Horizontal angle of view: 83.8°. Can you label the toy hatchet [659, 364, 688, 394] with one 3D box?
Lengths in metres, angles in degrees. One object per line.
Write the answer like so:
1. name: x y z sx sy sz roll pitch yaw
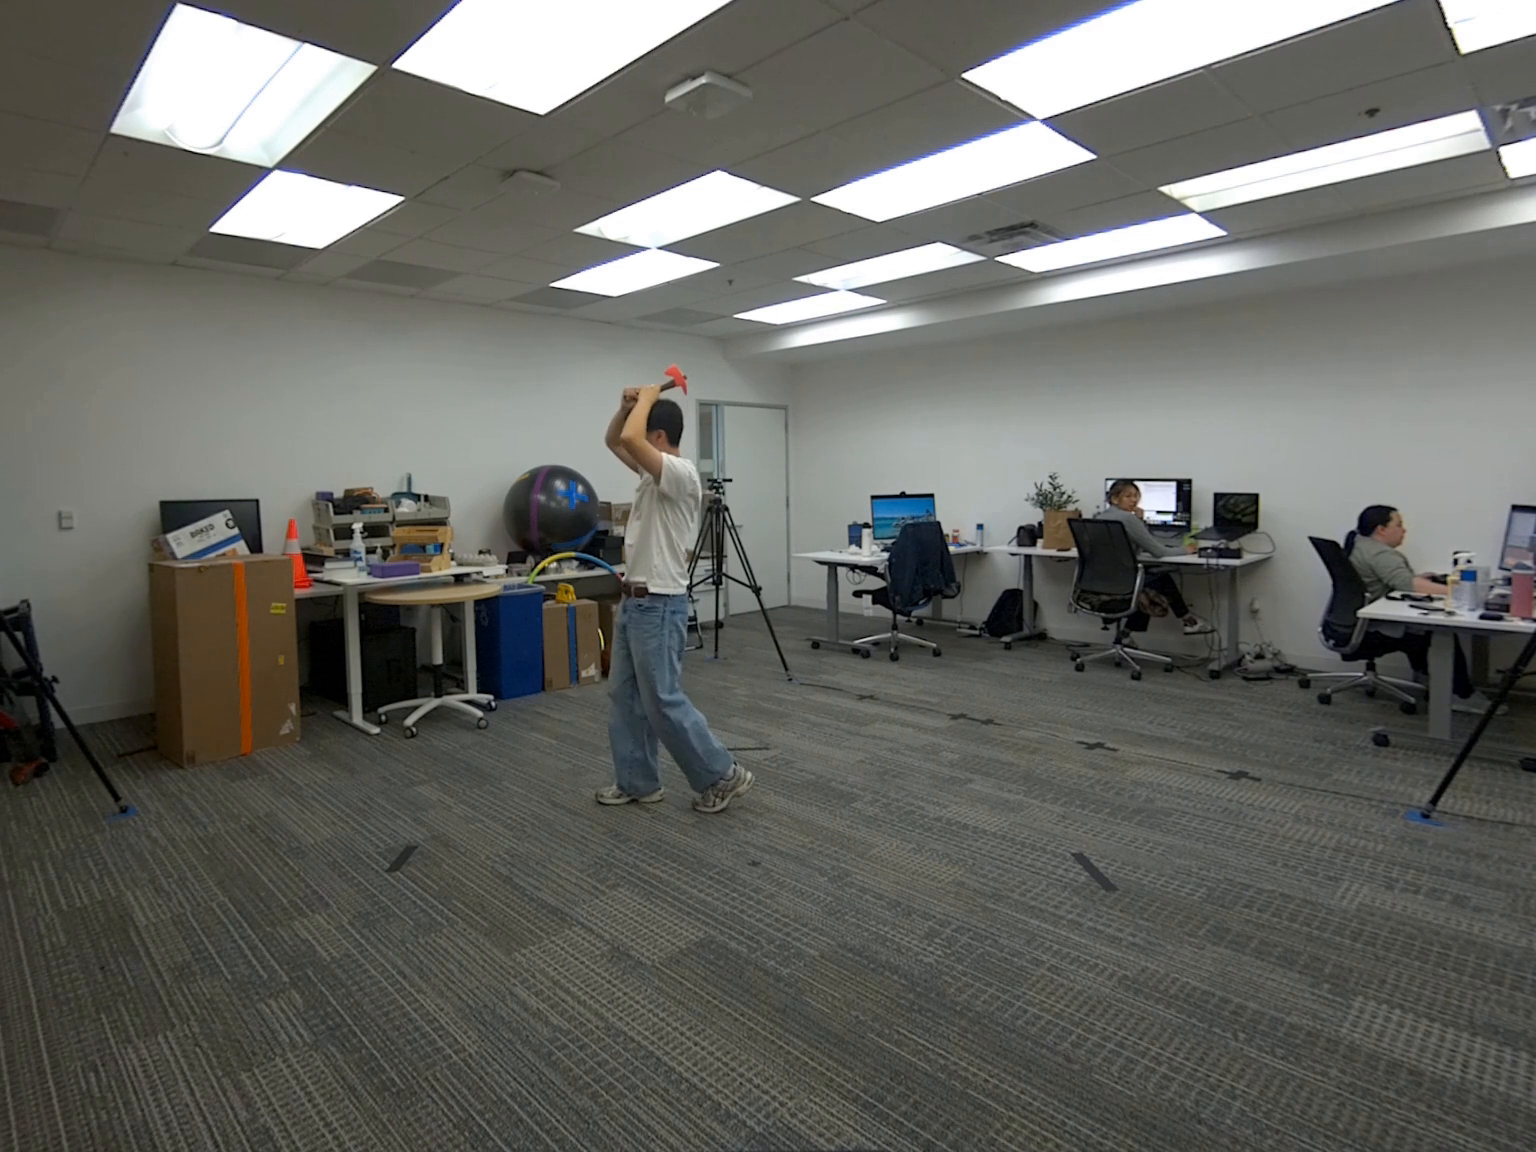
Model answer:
1. toy hatchet: -0.474 -0.803 3.541 0.269 0.130 0.030 -4 10 -2
